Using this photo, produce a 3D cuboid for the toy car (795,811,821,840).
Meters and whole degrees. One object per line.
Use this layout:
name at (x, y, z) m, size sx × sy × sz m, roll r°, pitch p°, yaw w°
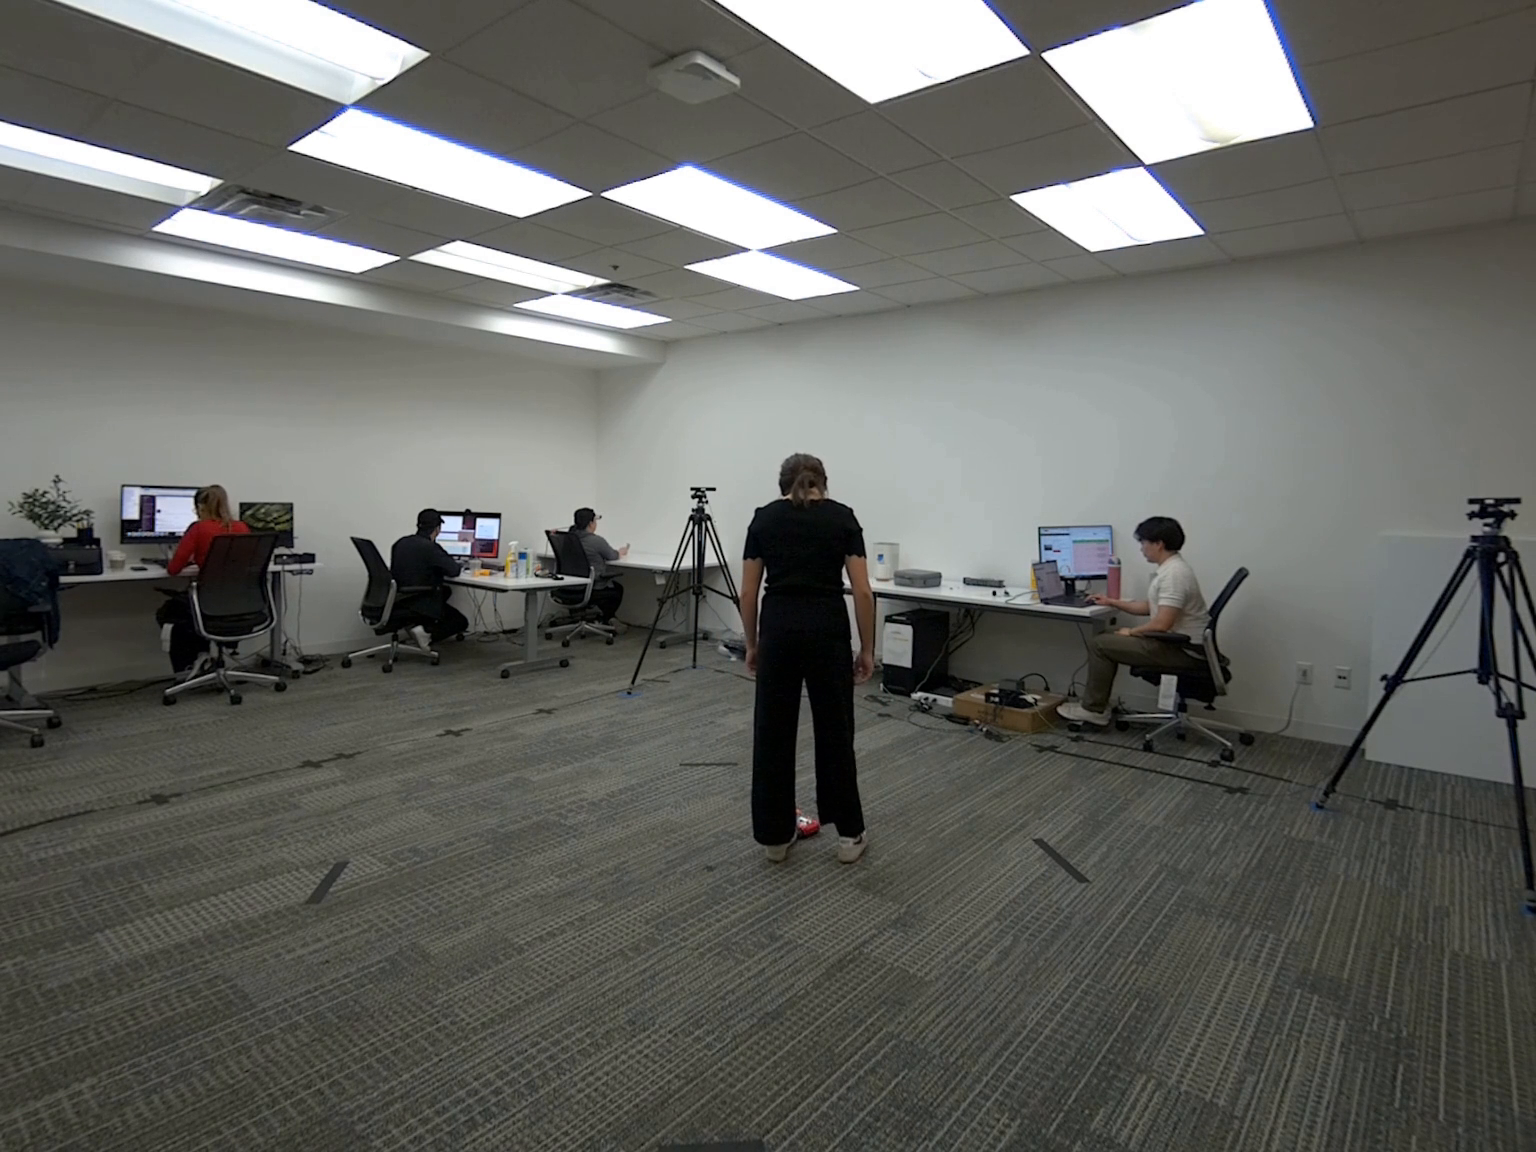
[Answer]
toy car at (0.086, 1.001, 3.505) m, size 0.126 × 0.082 × 0.265 m, roll -3°, pitch 16°, yaw -44°
